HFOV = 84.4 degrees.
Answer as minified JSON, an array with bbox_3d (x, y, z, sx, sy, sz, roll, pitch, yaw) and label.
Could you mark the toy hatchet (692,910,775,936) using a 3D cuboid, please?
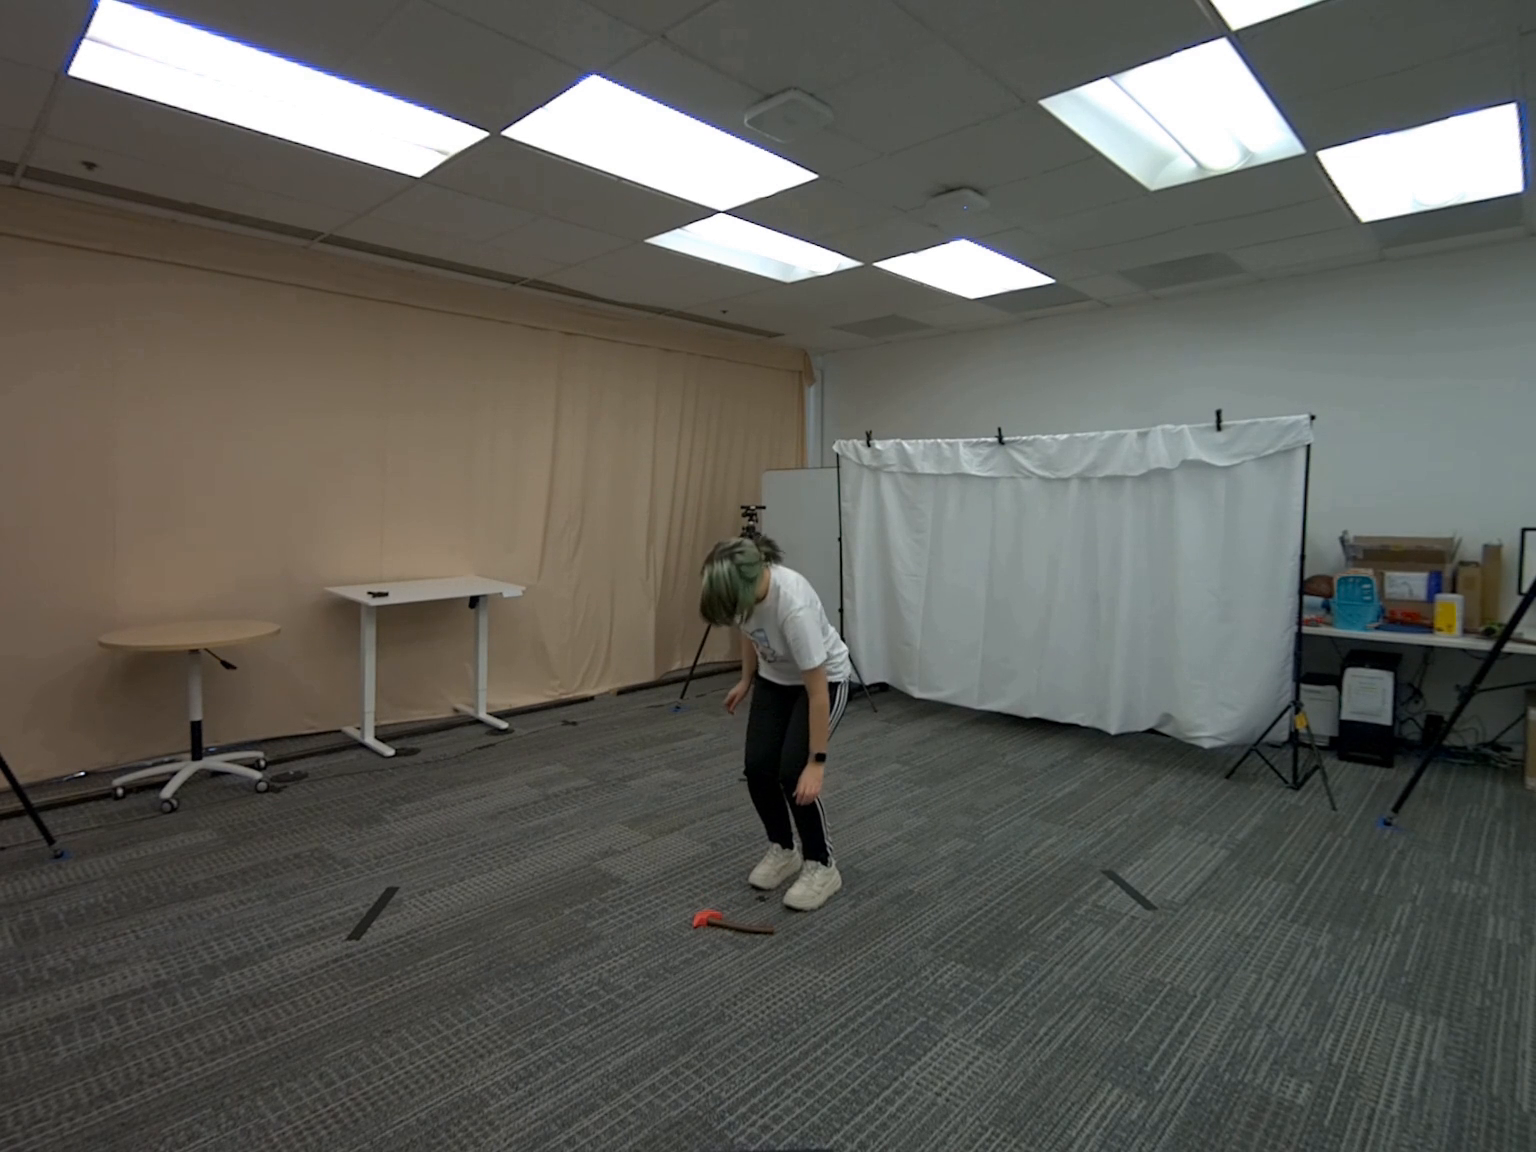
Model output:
[{"bbox_3d":[-0.111,1.154,2.802,0.272,0.029,0.130,4,0,6],"label":"toy hatchet"}]
